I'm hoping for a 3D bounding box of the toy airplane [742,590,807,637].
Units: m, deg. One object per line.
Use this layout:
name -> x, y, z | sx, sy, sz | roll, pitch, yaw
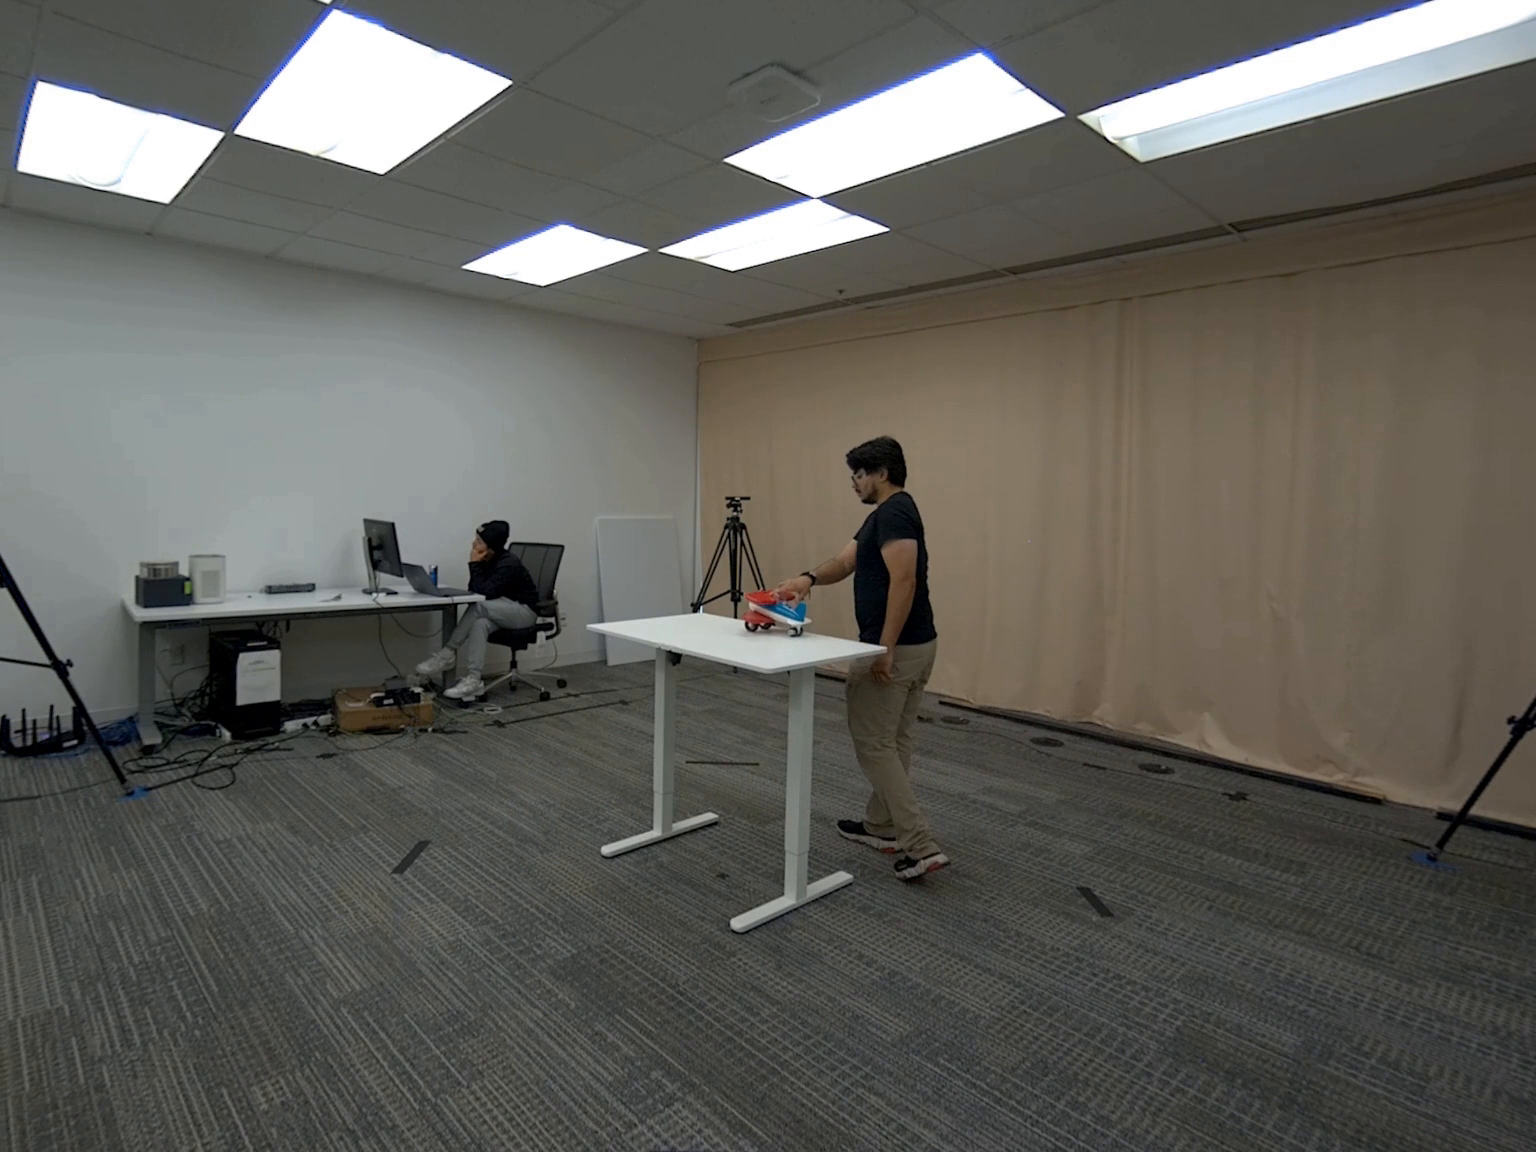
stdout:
toy airplane -> 0.033, 0.139, 3.217 | 0.261, 0.156, 0.250 | 1, 6, 10
